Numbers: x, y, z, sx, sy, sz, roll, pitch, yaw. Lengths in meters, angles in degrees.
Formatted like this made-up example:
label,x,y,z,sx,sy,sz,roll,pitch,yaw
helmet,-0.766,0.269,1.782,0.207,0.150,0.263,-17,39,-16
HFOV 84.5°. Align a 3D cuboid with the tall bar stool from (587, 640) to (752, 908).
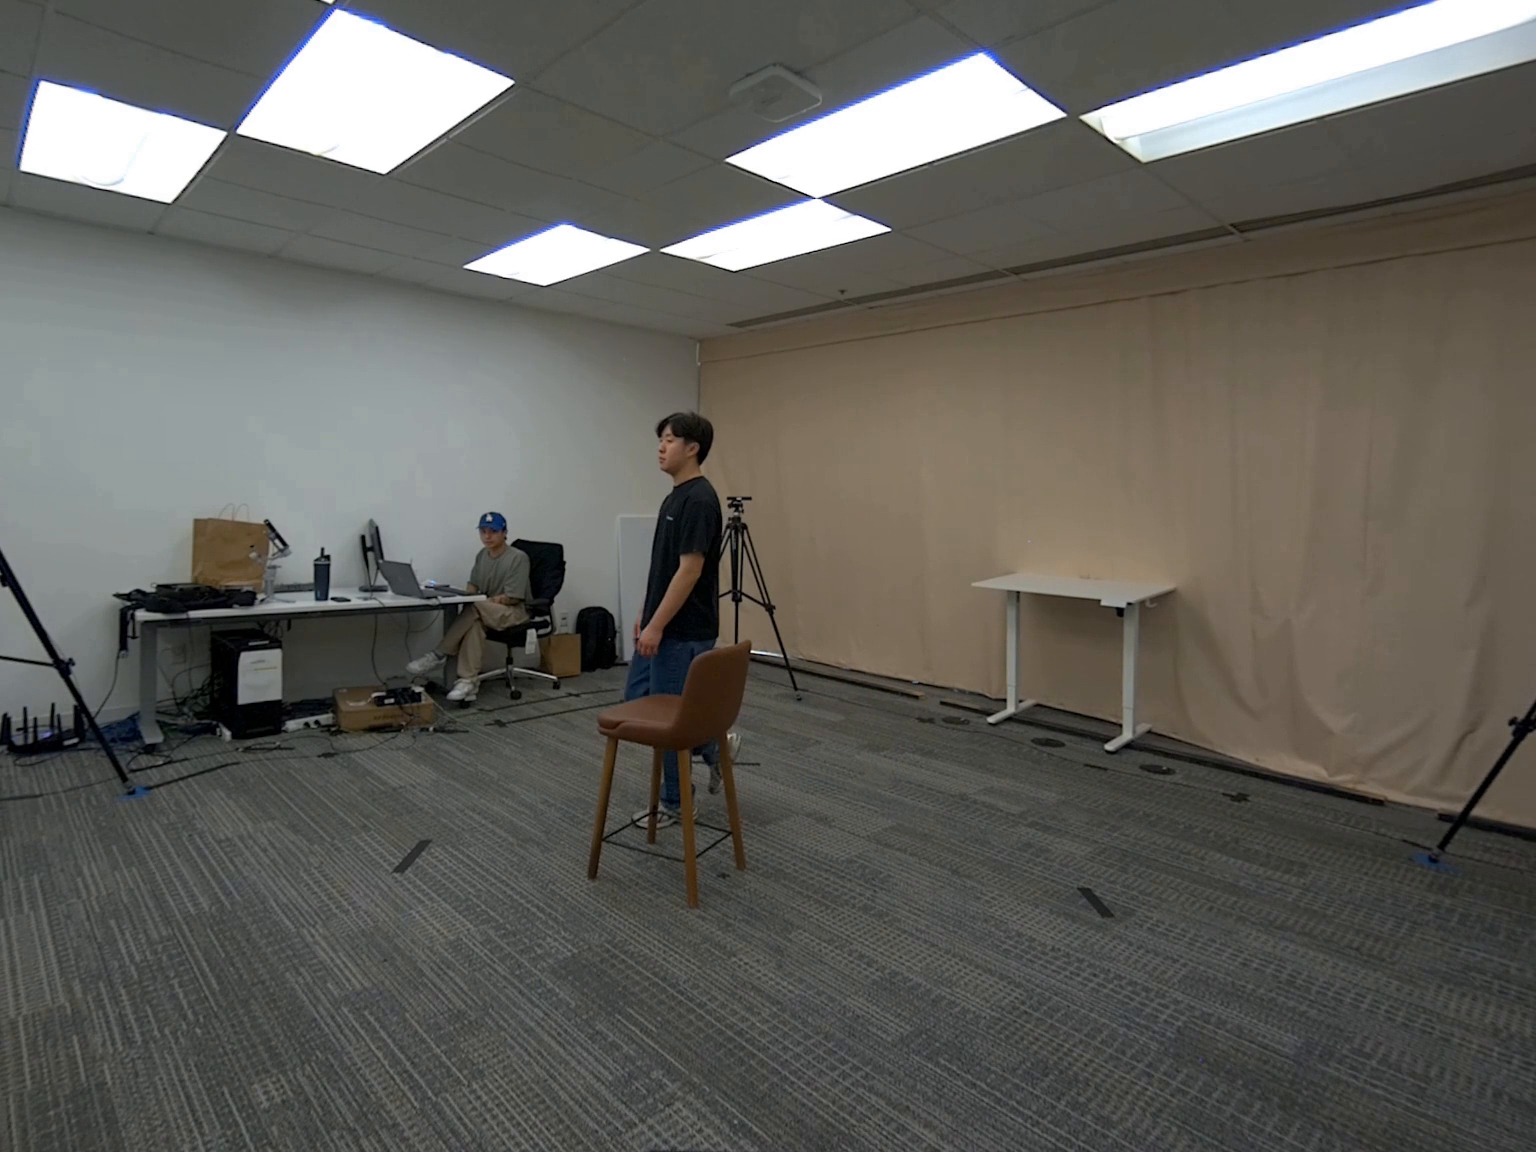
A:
label,x,y,z,sx,sy,sz,roll,pitch,yaw
tall bar stool,-0.355,0.669,3.091,0.478,0.887,0.448,5,5,29
